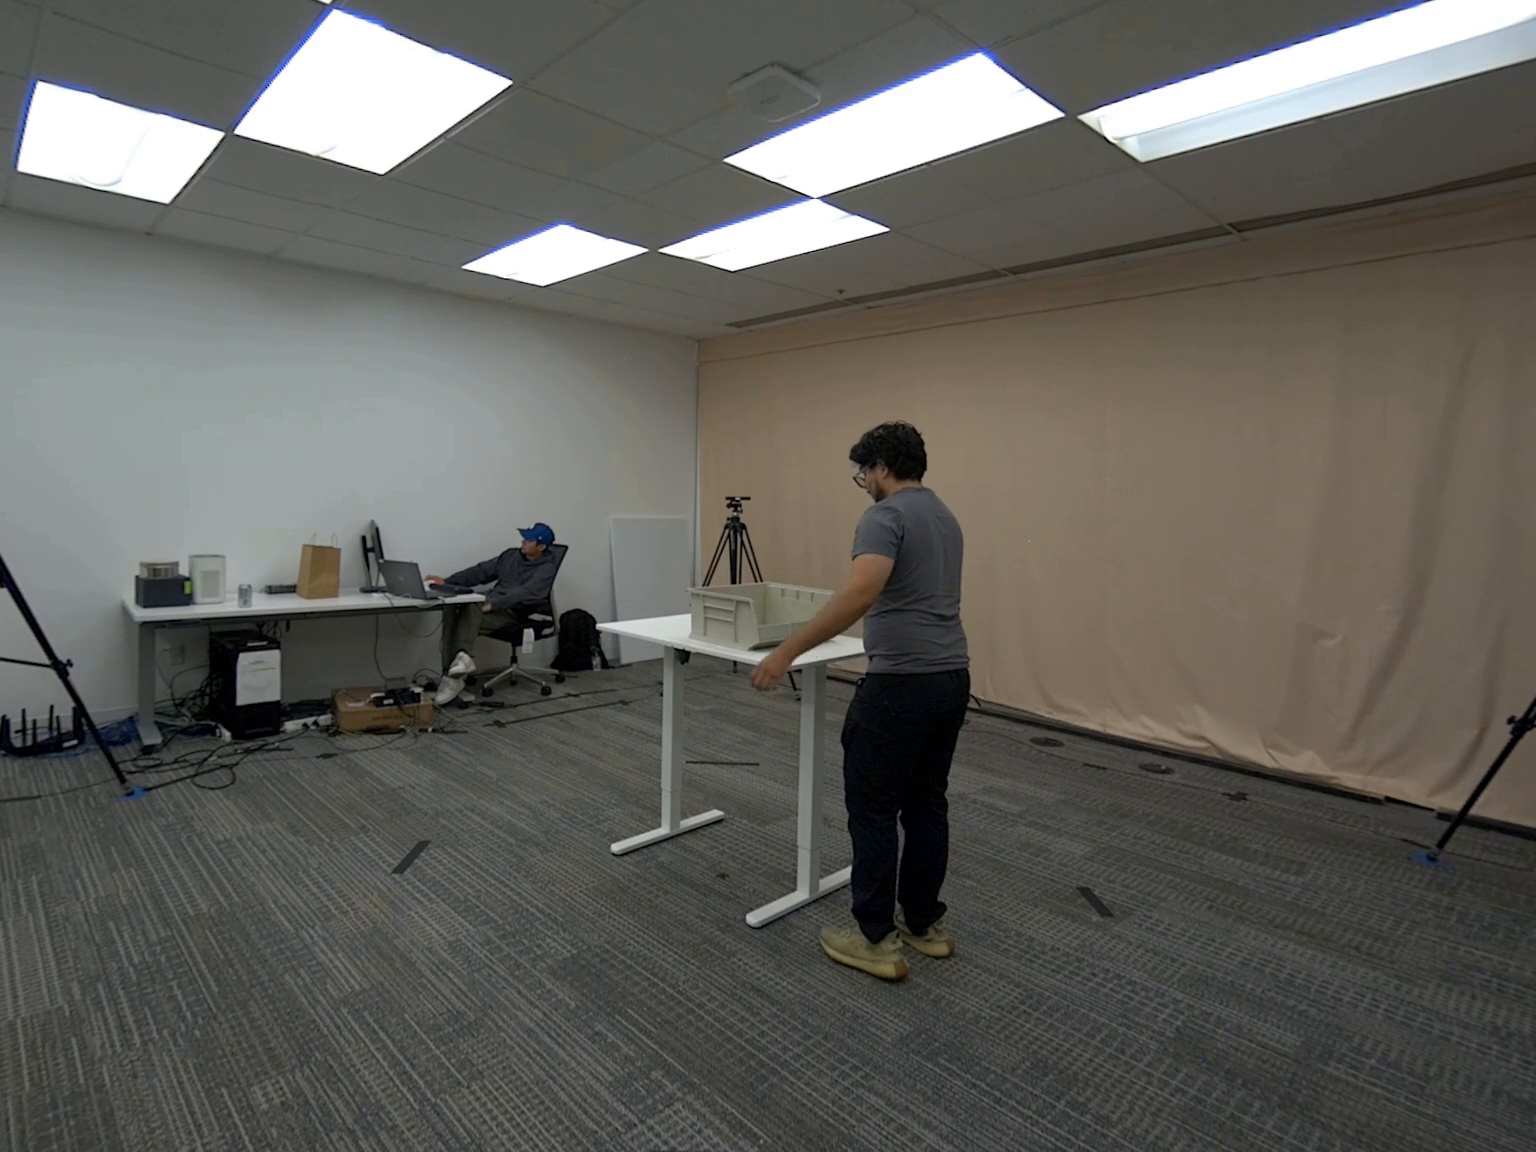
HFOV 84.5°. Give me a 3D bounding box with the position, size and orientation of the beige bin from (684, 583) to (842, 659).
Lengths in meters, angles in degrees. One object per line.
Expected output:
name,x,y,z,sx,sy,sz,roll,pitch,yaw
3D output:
beige bin,-0.018,0.148,3.050,0.413,0.188,0.387,-4,7,-43
